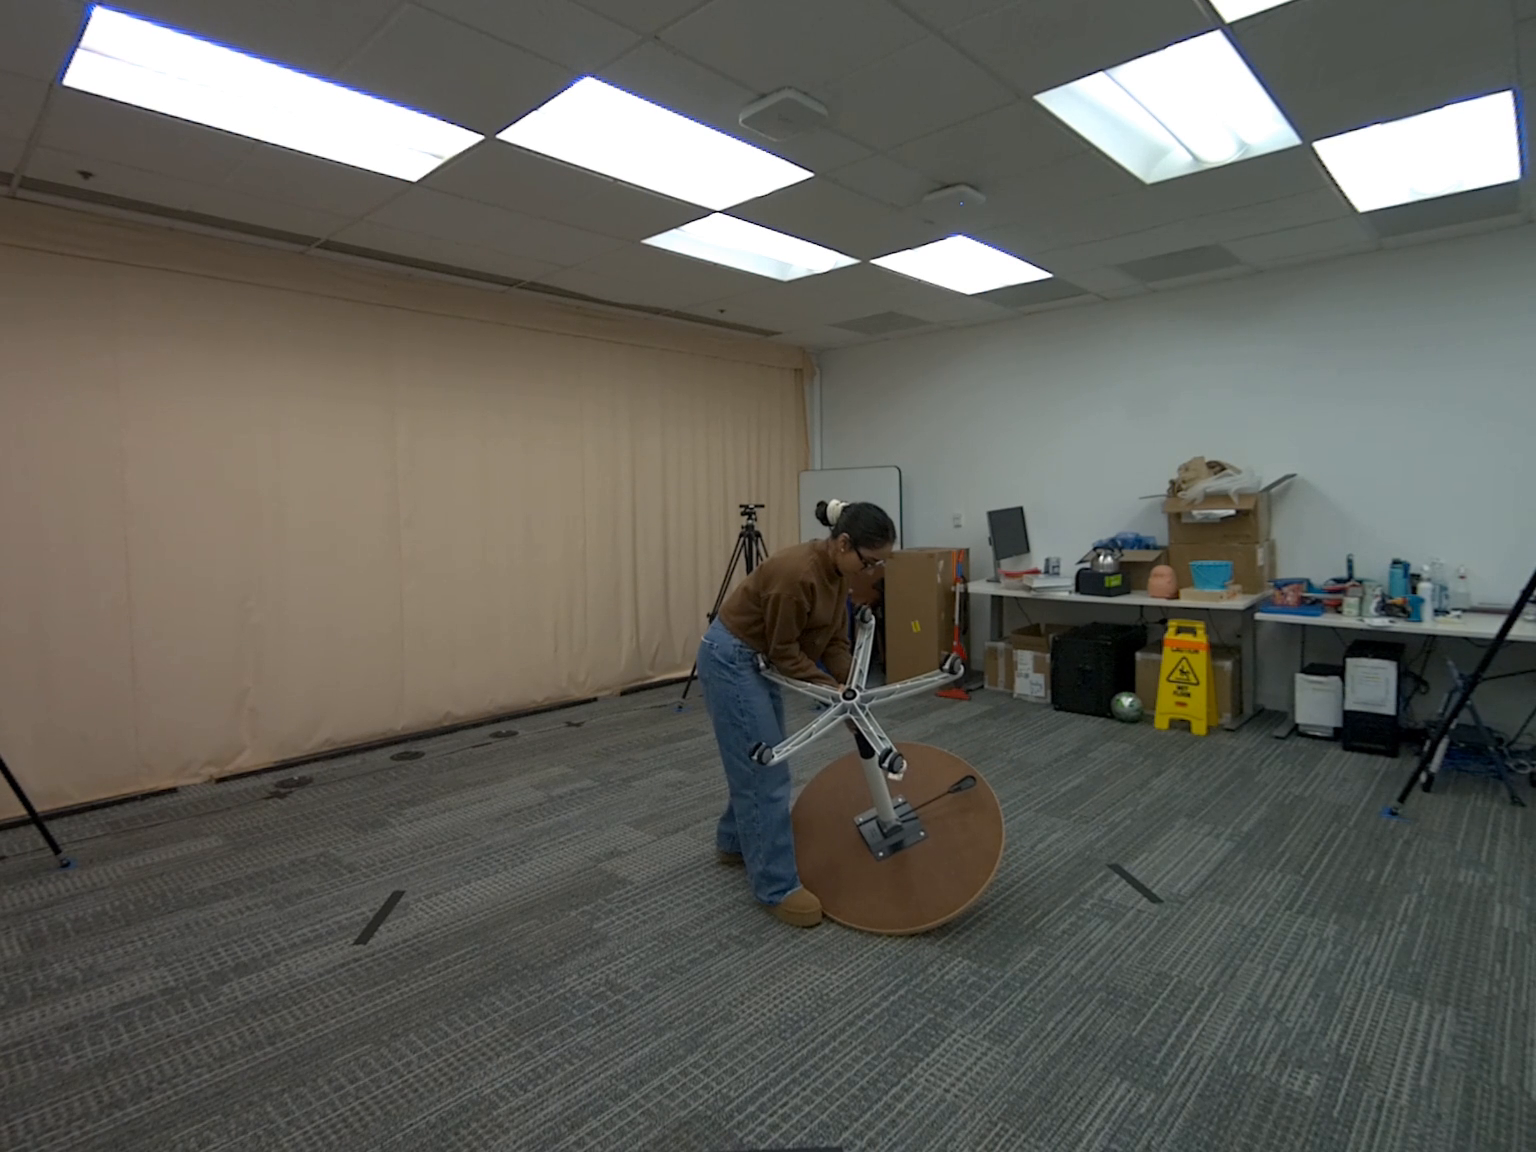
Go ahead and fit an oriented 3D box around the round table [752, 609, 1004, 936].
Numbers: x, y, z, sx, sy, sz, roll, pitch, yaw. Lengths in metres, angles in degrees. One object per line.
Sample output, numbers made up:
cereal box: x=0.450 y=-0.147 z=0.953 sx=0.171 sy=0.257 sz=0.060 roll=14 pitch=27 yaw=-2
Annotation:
round table: x=0.349 y=0.610 z=2.783 sx=0.770 sy=0.773 sz=0.778 roll=-14 pitch=35 yaw=8
